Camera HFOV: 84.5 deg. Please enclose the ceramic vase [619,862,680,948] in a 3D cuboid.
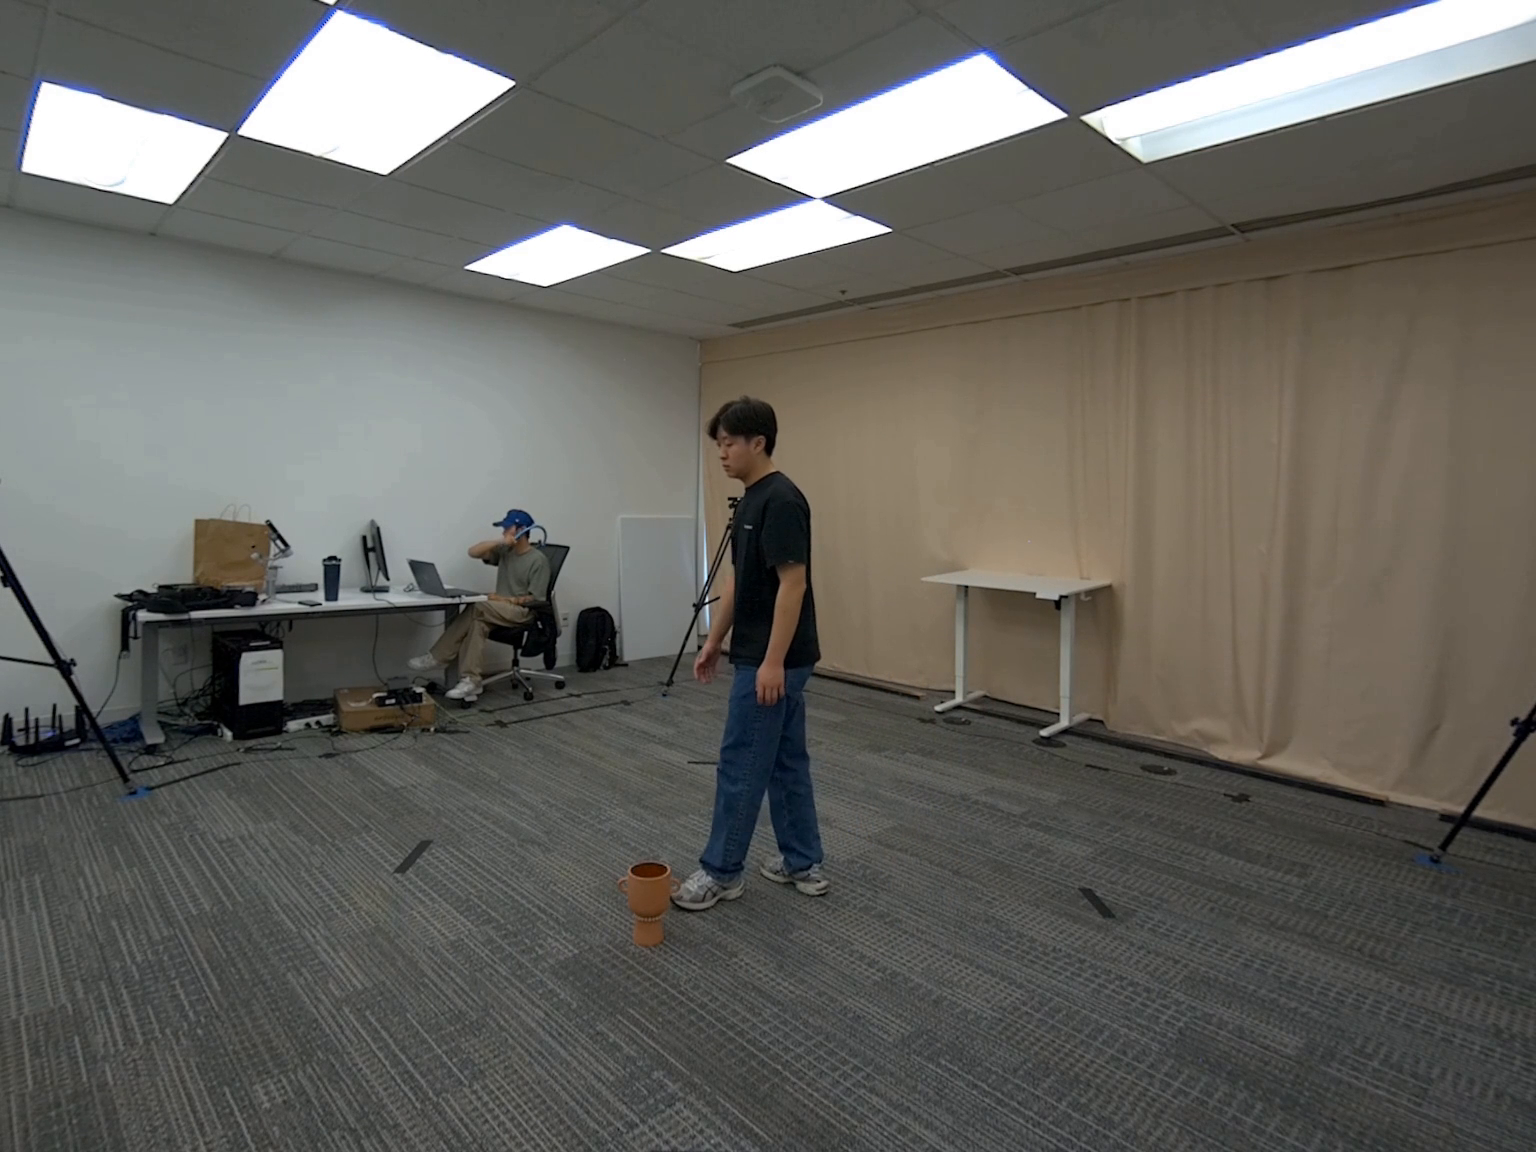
[{"bbox_3d":[-0.381,1.031,2.647,0.162,0.219,0.132,3,3,36],"label":"ceramic vase"}]
